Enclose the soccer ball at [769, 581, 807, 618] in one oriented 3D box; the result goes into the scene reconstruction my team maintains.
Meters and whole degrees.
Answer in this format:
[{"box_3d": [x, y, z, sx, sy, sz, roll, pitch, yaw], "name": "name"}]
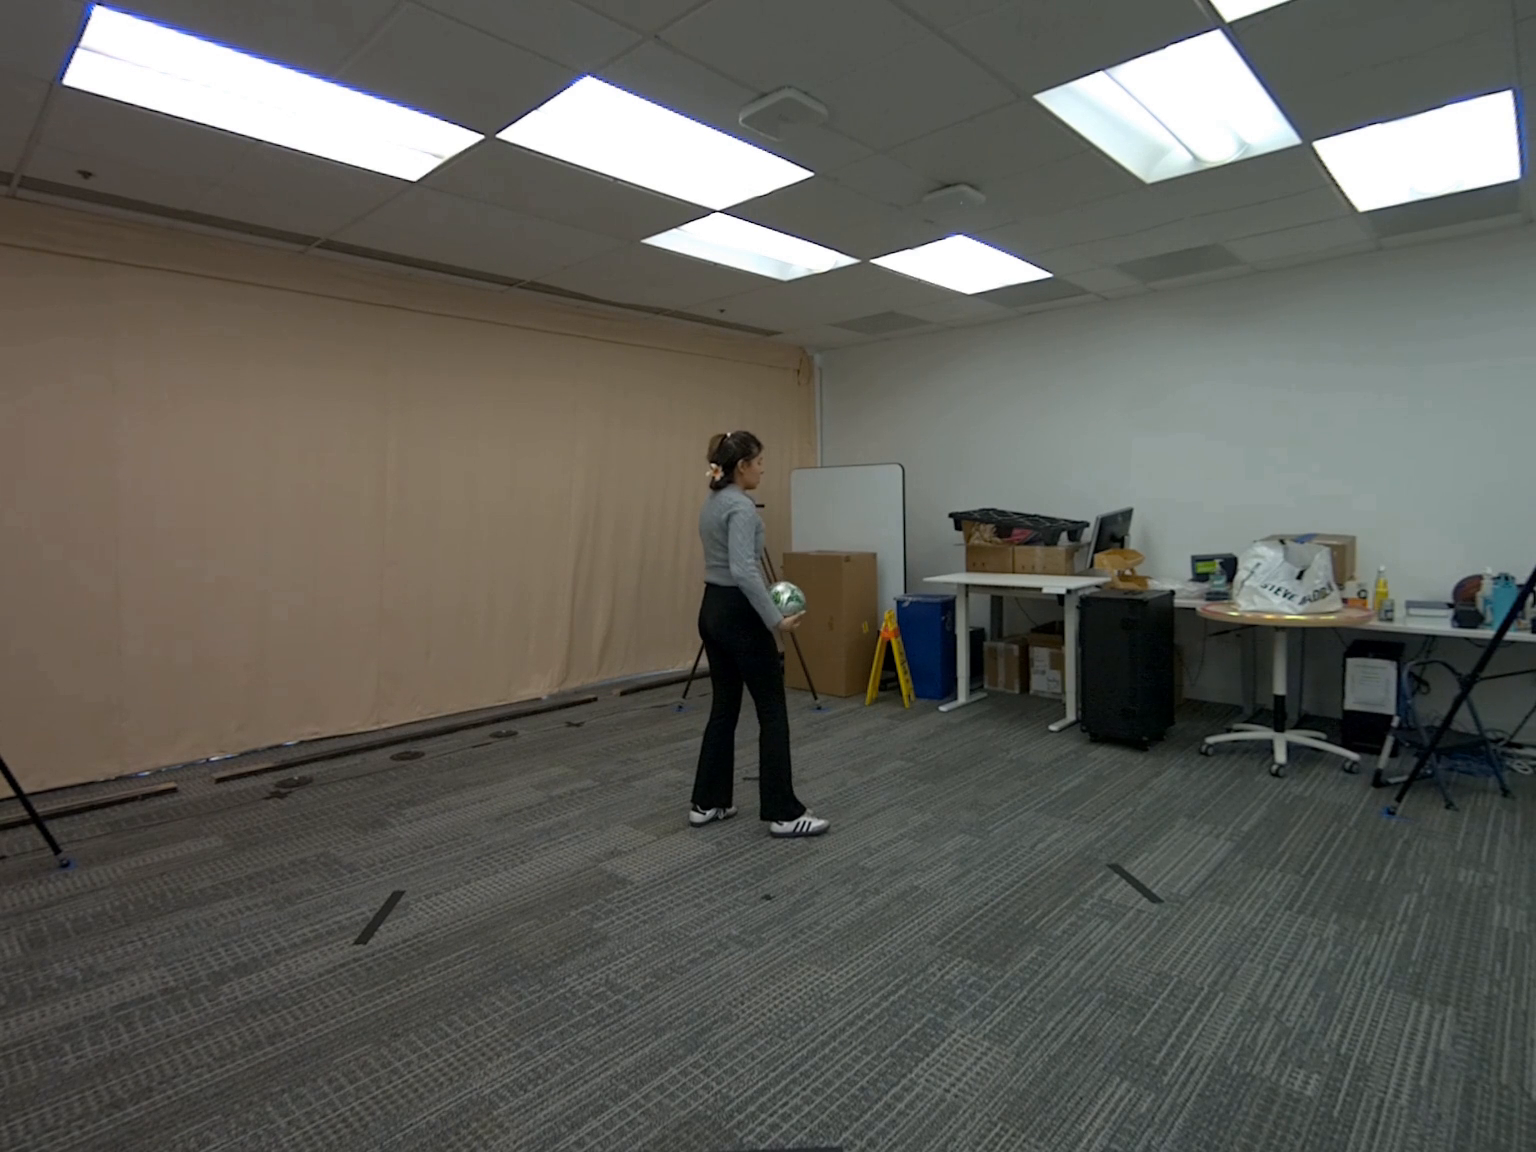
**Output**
[{"box_3d": [0.058, 0.110, 3.441, 0.187, 0.187, 0.188, -1, 4, -2], "name": "soccer ball"}]
